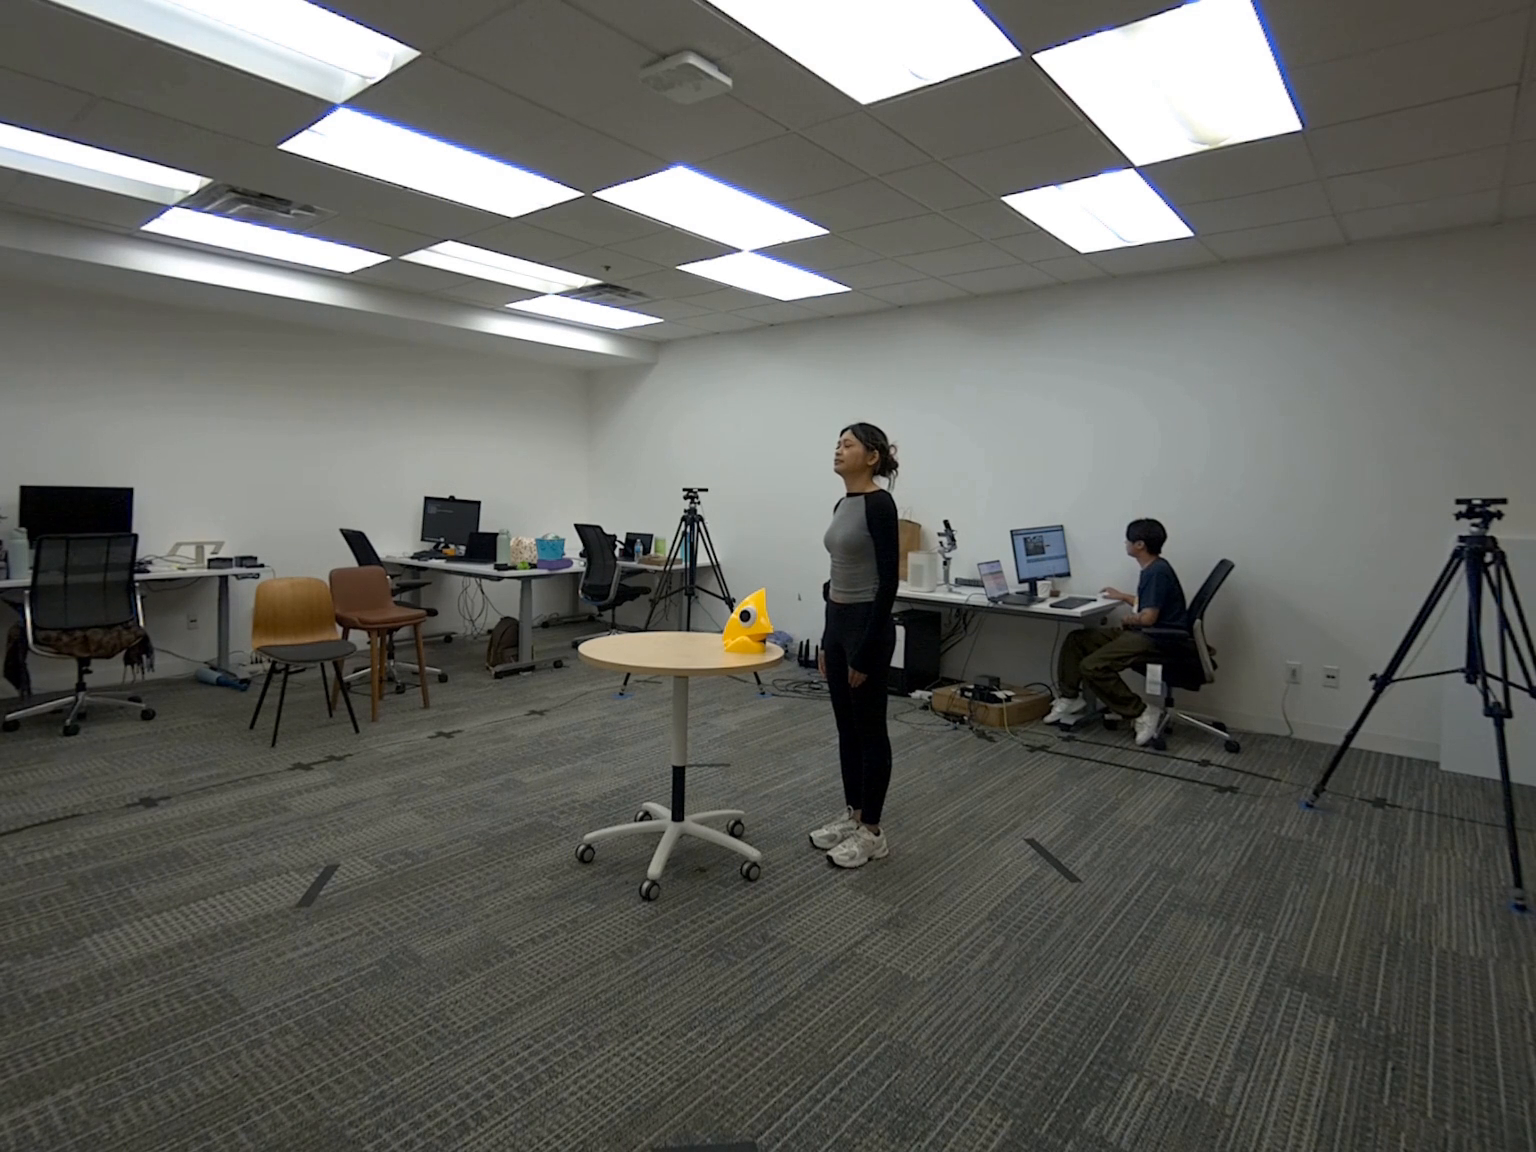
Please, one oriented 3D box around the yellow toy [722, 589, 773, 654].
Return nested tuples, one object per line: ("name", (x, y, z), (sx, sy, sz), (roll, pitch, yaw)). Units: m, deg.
("yellow toy", (-0.086, 0.154, 3.211), (0.193, 0.230, 0.205), (1, 3, -2))
